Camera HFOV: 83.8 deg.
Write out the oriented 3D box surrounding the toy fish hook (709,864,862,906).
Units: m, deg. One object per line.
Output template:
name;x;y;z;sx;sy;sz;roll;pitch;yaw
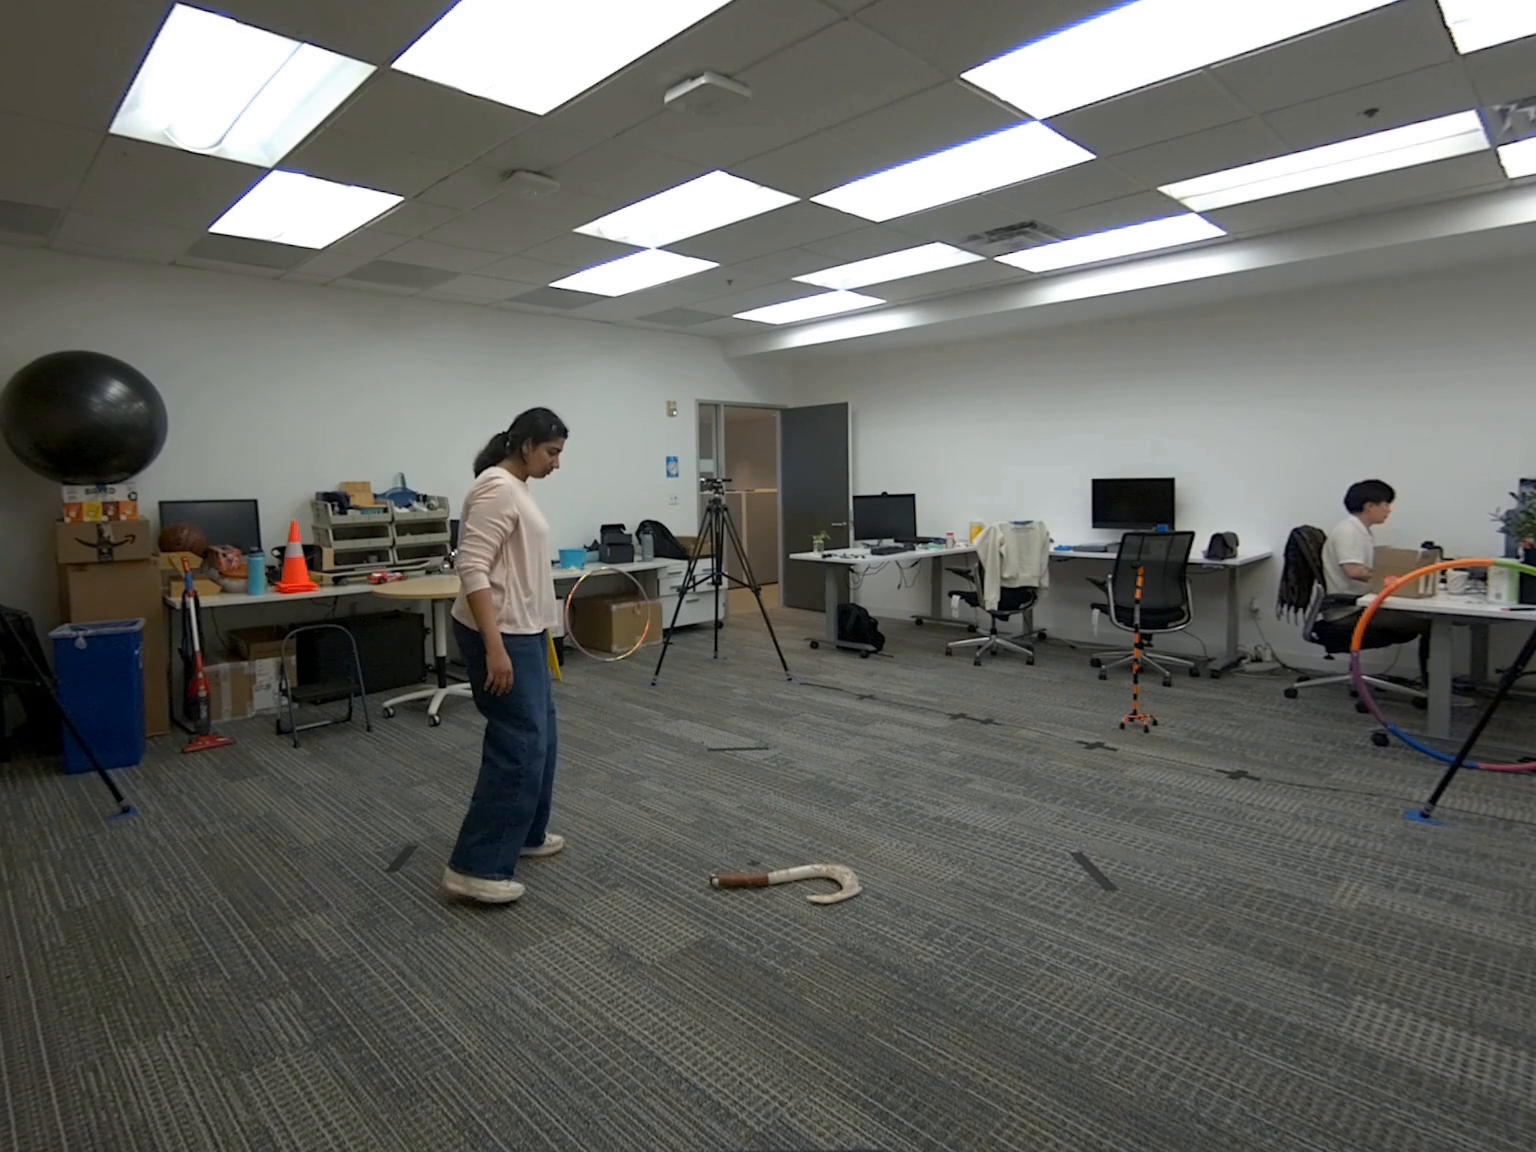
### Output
toy fish hook;0.061;1.044;2.890;0.505;0.048;0.226;-1;5;-4
